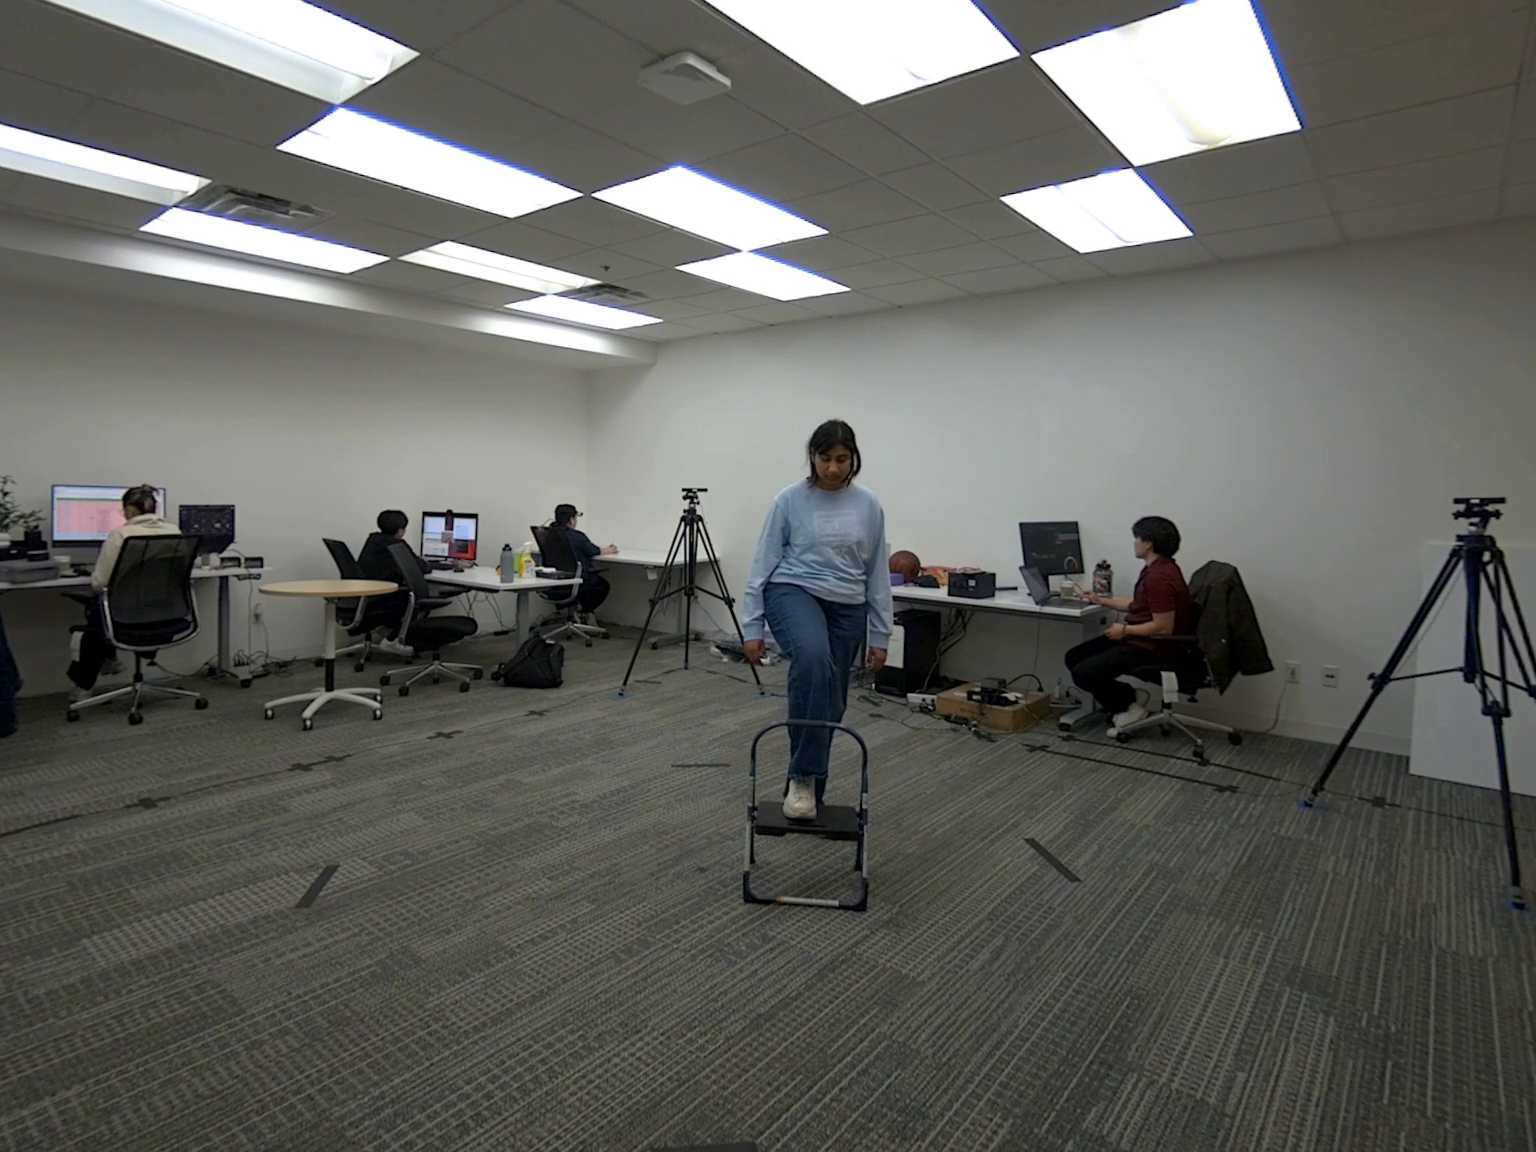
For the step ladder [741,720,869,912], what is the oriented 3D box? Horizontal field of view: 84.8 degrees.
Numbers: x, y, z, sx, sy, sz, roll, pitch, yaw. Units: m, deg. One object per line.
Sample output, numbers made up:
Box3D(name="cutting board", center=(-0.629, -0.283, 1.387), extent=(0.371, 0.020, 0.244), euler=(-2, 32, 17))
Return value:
Box3D(name="step ladder", center=(0.126, 0.788, 2.991), extent=(0.433, 0.604, 0.348), euler=(2, 3, 4))
